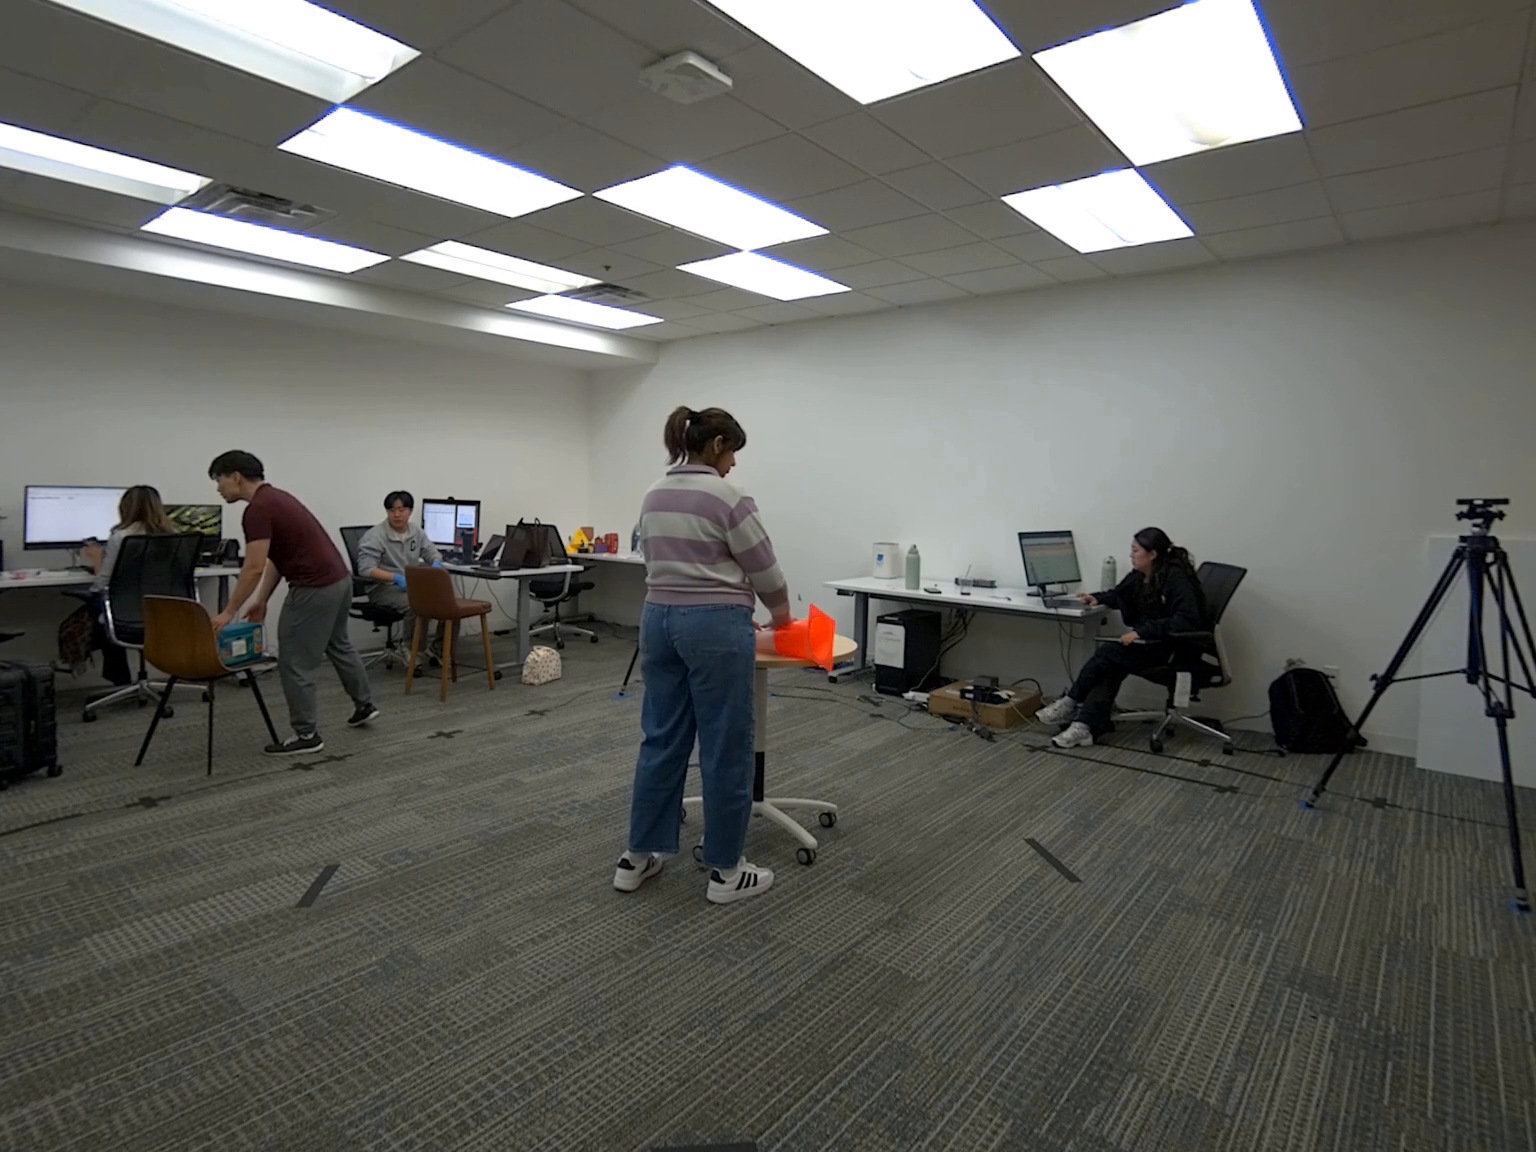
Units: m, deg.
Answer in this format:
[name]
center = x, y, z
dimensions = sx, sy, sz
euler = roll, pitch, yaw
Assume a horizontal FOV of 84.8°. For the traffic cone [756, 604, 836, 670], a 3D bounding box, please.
[traffic cone]
center = 0.019, 0.241, 3.166
dimensions = 0.393, 0.207, 0.196
euler = -8, -27, 33
